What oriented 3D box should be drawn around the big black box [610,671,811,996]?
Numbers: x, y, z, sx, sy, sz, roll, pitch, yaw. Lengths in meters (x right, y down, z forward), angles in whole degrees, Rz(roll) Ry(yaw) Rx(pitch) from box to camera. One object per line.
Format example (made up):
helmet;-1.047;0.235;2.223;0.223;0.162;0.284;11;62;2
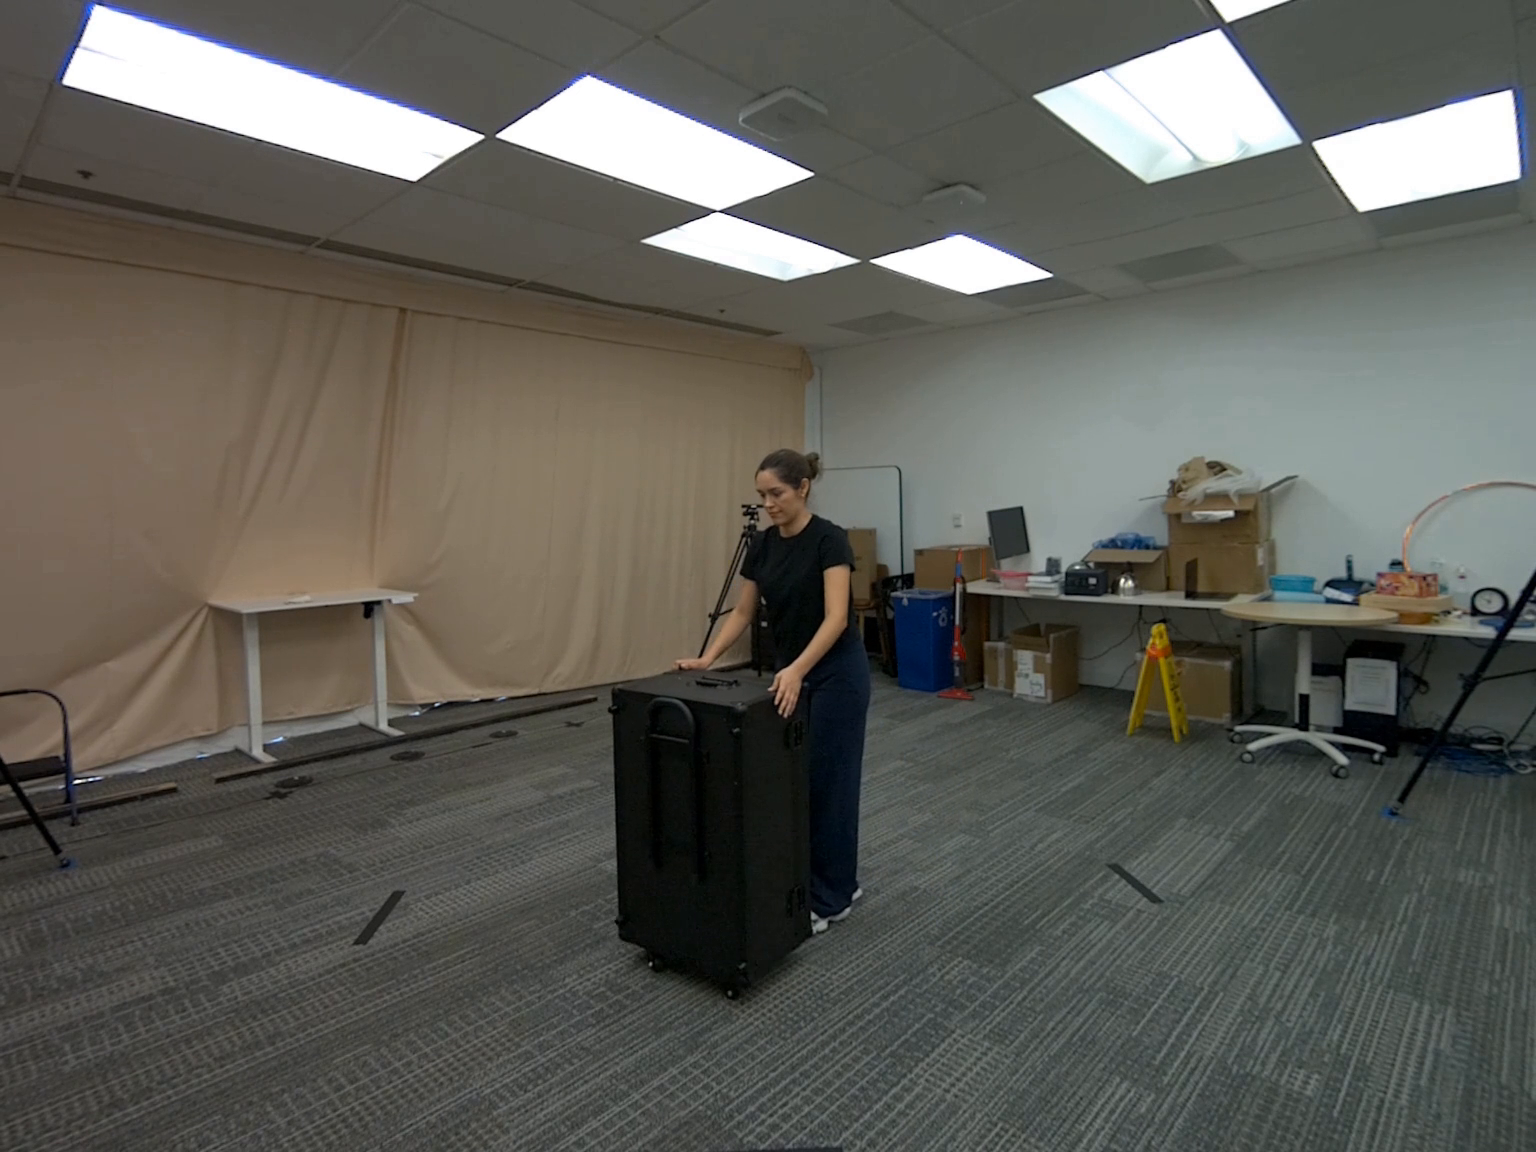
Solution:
big black box;-0.150;0.750;2.557;0.537;0.859;0.385;1;5;36
